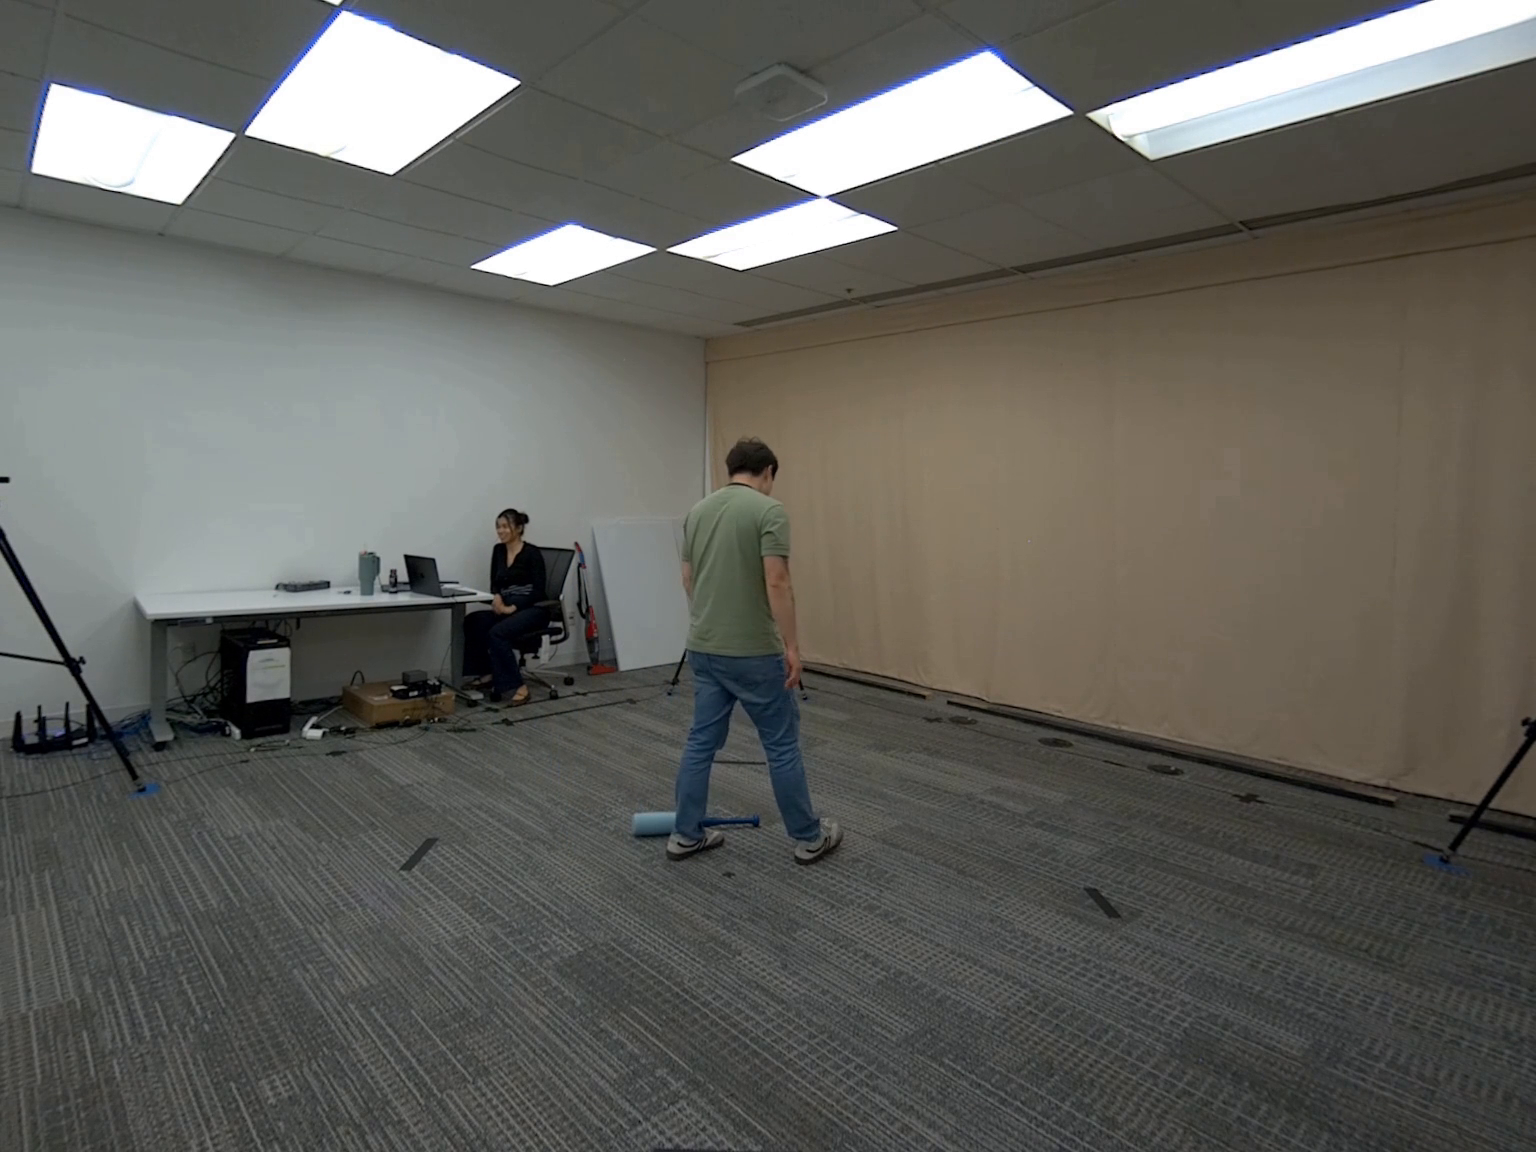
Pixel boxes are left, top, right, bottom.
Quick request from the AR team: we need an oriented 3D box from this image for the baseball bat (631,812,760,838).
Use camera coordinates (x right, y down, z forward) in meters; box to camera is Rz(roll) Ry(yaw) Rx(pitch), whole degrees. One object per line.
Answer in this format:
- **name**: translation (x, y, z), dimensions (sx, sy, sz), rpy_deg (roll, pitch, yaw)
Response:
- **baseball bat**: translation (-0.304, 1.027, 3.503), dimensions (0.536, 0.089, 0.090), rpy_deg (3, 4, -15)
